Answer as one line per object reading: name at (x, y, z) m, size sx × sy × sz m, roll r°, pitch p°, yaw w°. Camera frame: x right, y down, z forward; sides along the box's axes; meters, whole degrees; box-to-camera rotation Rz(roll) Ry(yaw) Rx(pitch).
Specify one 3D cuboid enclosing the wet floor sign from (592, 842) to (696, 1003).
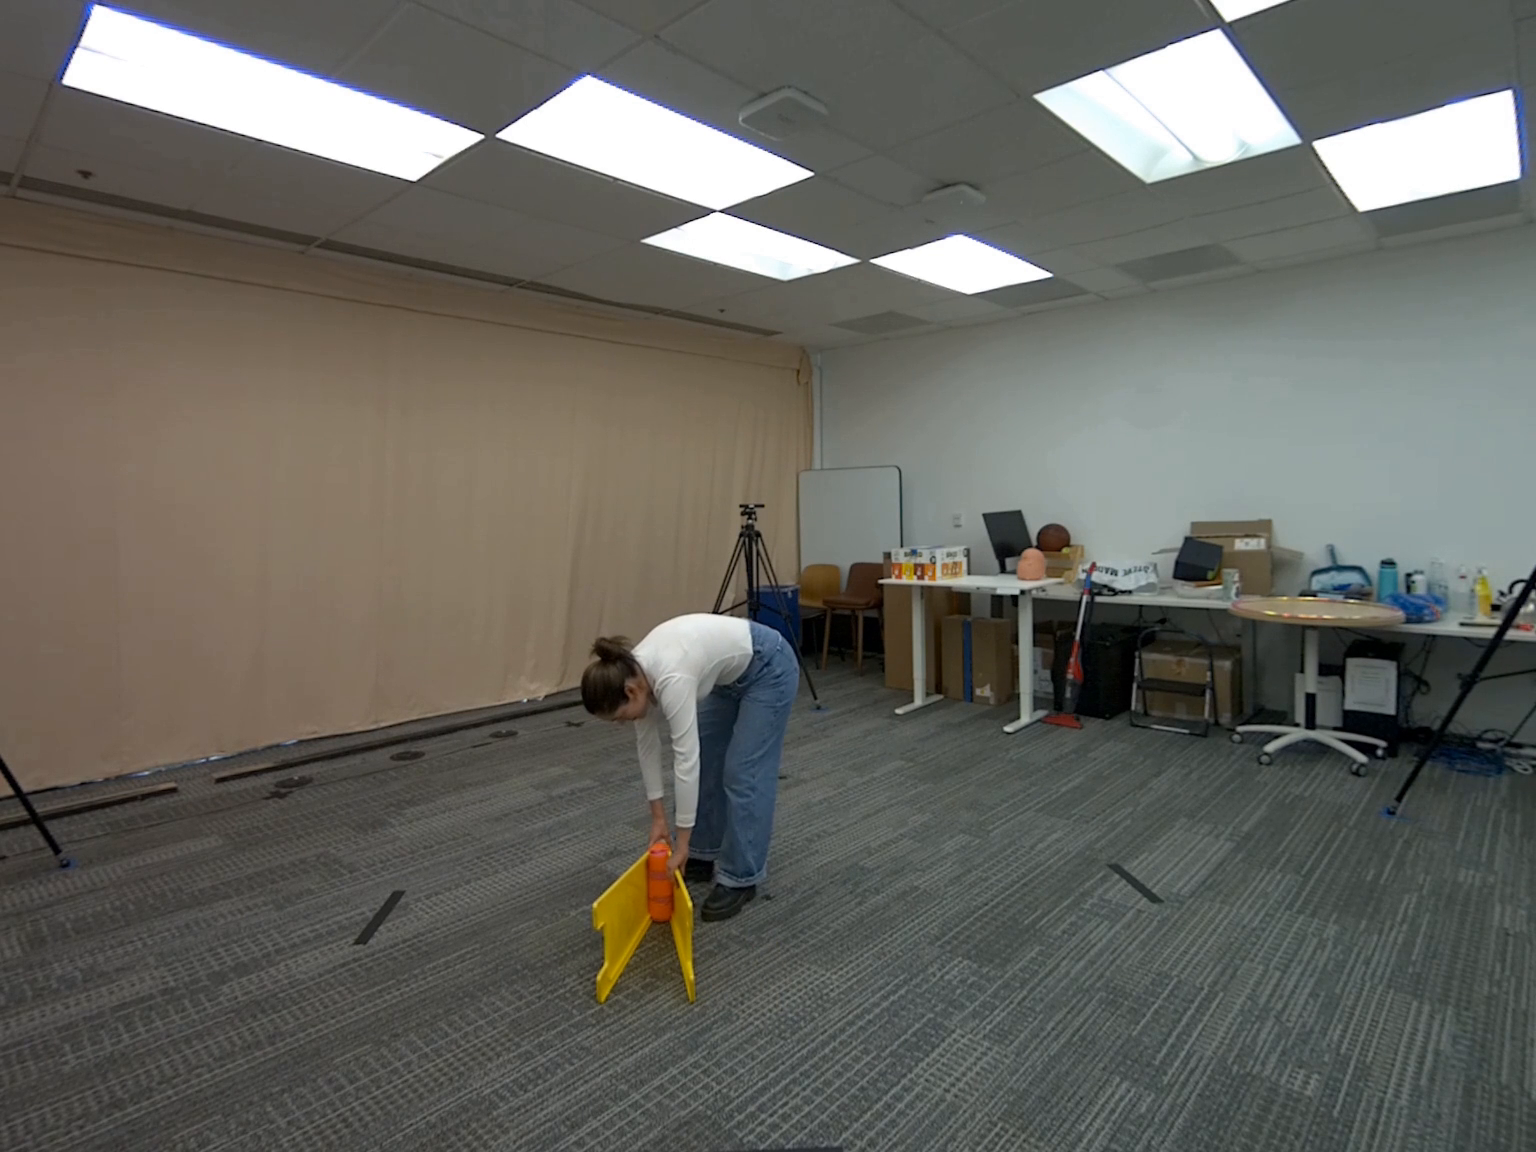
wet floor sign at (-0.359, 1.043, 2.675) m, size 0.290 × 0.282 × 0.646 m, roll -2°, pitch 1°, yaw -2°
